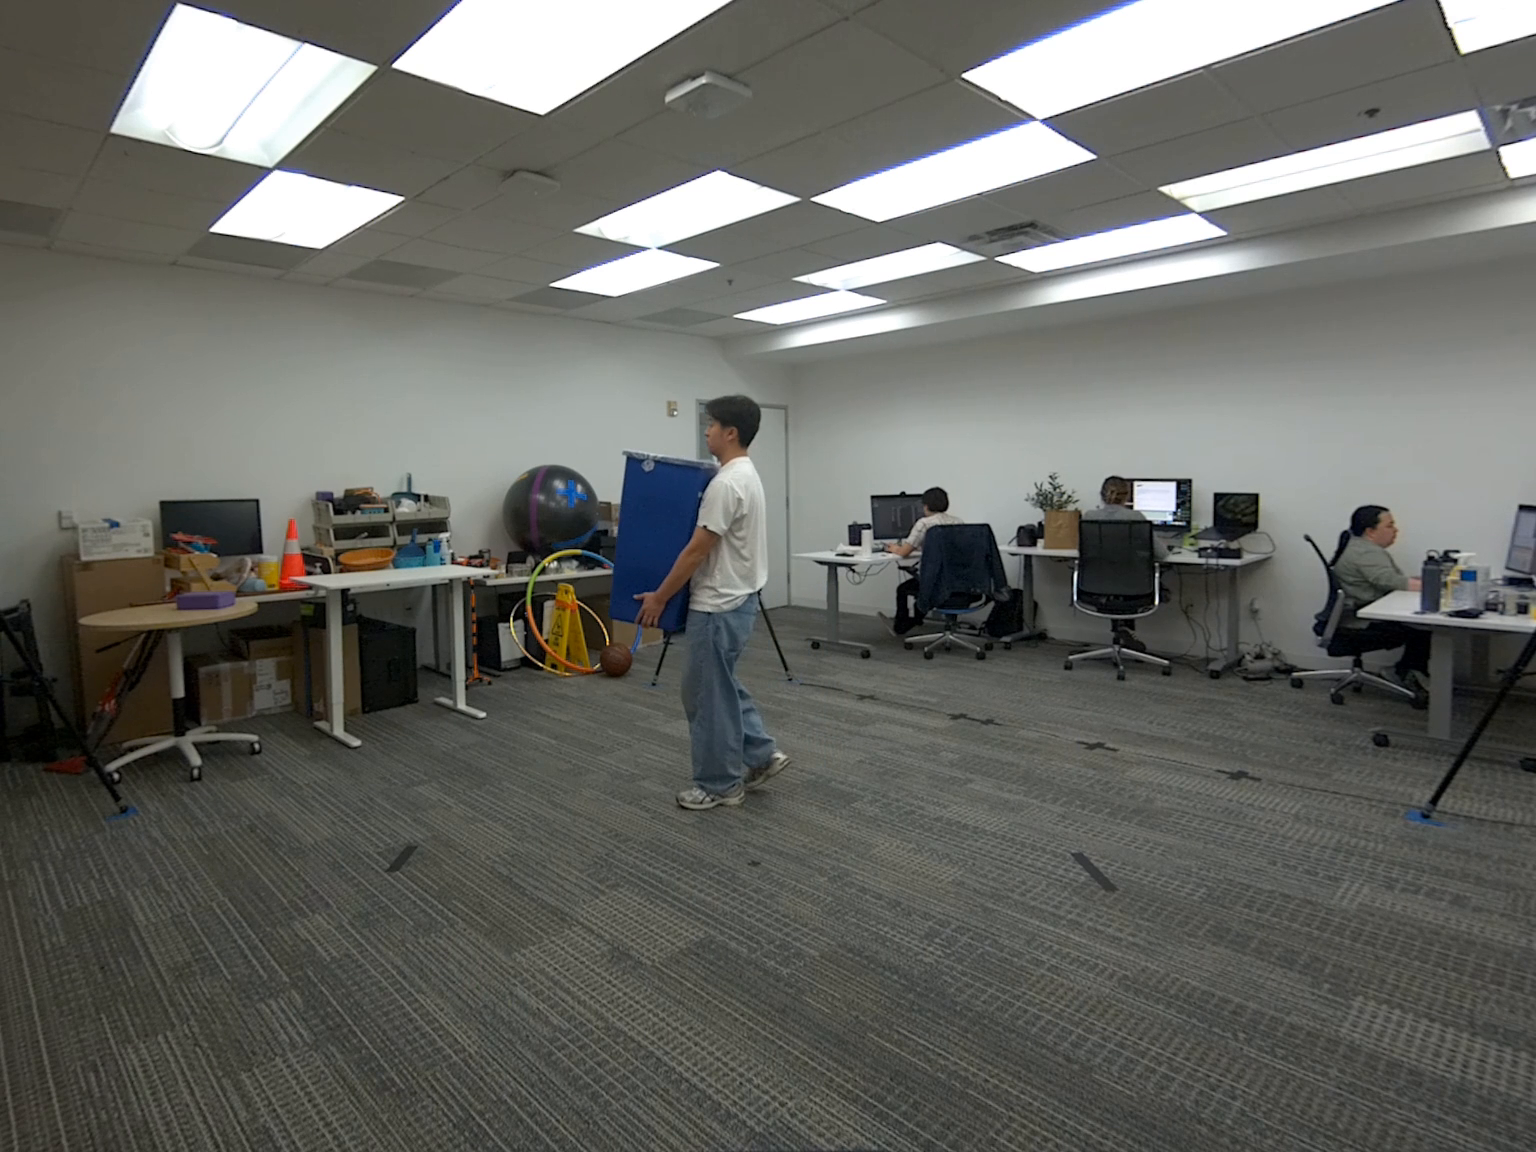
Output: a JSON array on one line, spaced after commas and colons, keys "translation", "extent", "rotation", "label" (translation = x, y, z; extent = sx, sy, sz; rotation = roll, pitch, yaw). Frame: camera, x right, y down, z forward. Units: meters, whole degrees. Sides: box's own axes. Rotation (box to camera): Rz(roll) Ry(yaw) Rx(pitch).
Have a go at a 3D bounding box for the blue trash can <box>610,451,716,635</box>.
[{"translation": [-0.449, -0.168, 3.699], "extent": [0.384, 0.710, 0.370], "rotation": [10, 6, 13], "label": "blue trash can"}]
